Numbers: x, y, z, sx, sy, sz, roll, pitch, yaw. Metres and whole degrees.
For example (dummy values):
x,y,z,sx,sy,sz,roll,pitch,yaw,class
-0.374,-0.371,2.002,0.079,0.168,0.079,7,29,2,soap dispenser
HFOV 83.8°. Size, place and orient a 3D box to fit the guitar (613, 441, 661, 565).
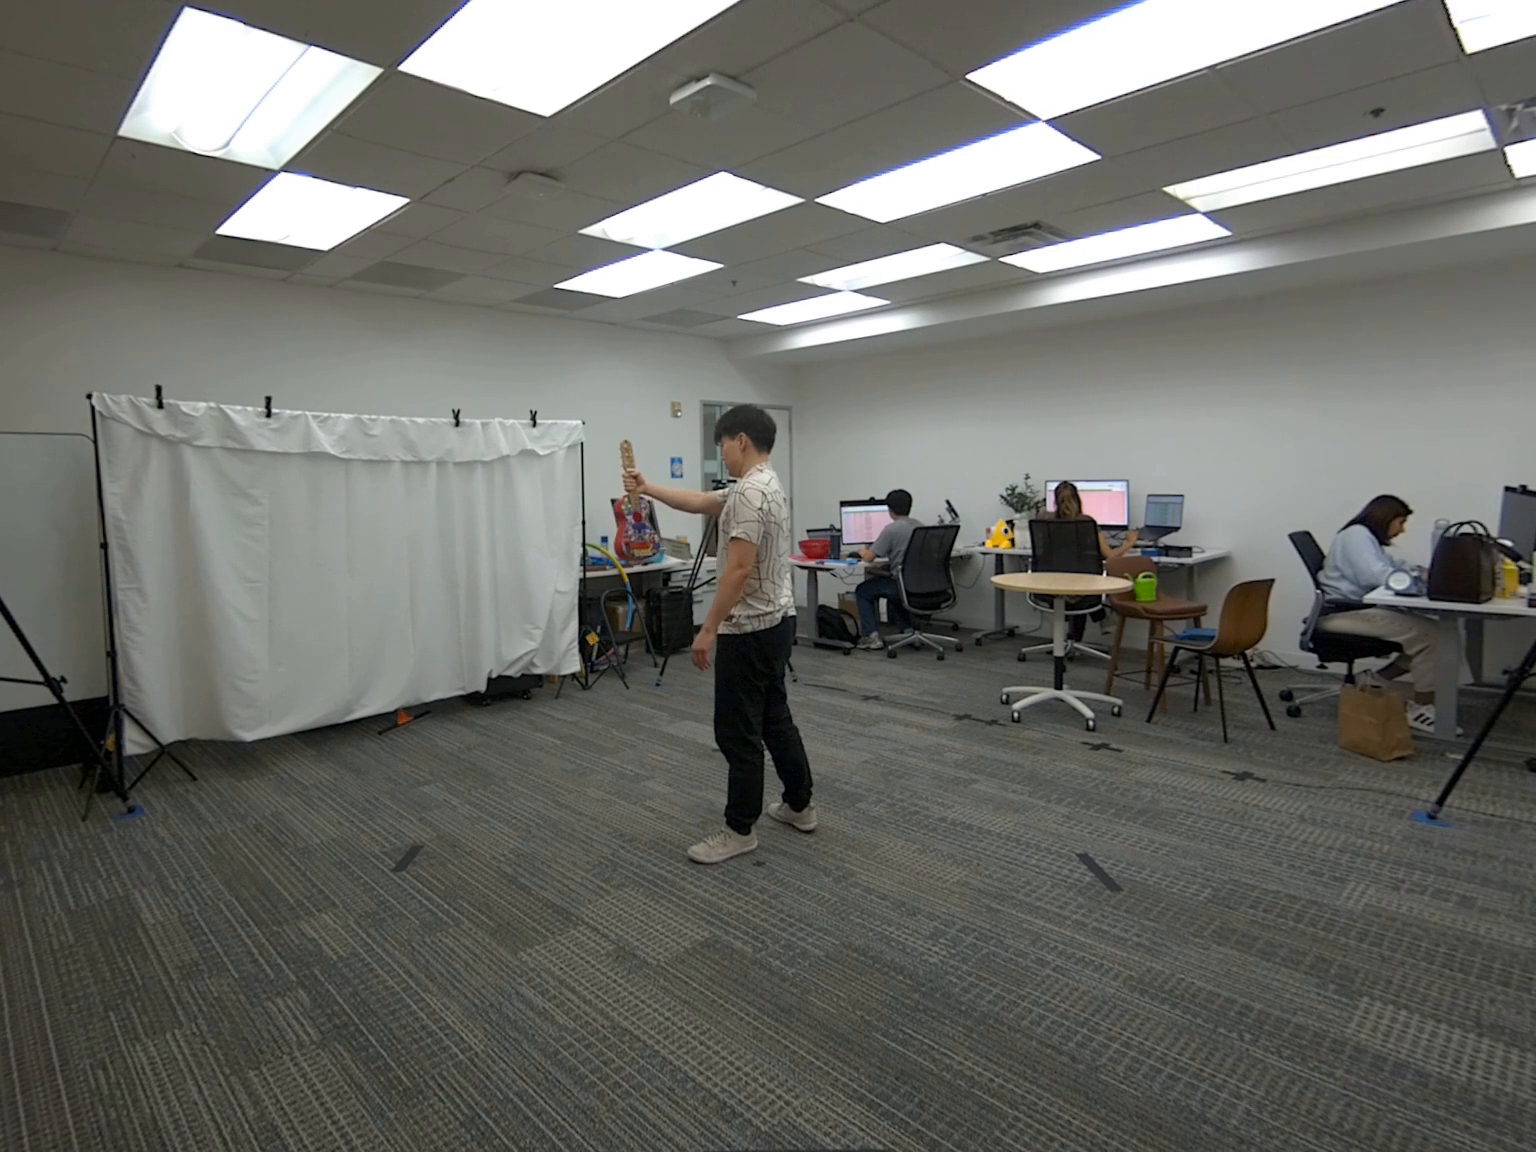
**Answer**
x,y,z,sx,sy,sz,roll,pitch,yaw,class
-0.547,-0.308,3.570,0.187,0.503,0.072,6,-14,-41,guitar
